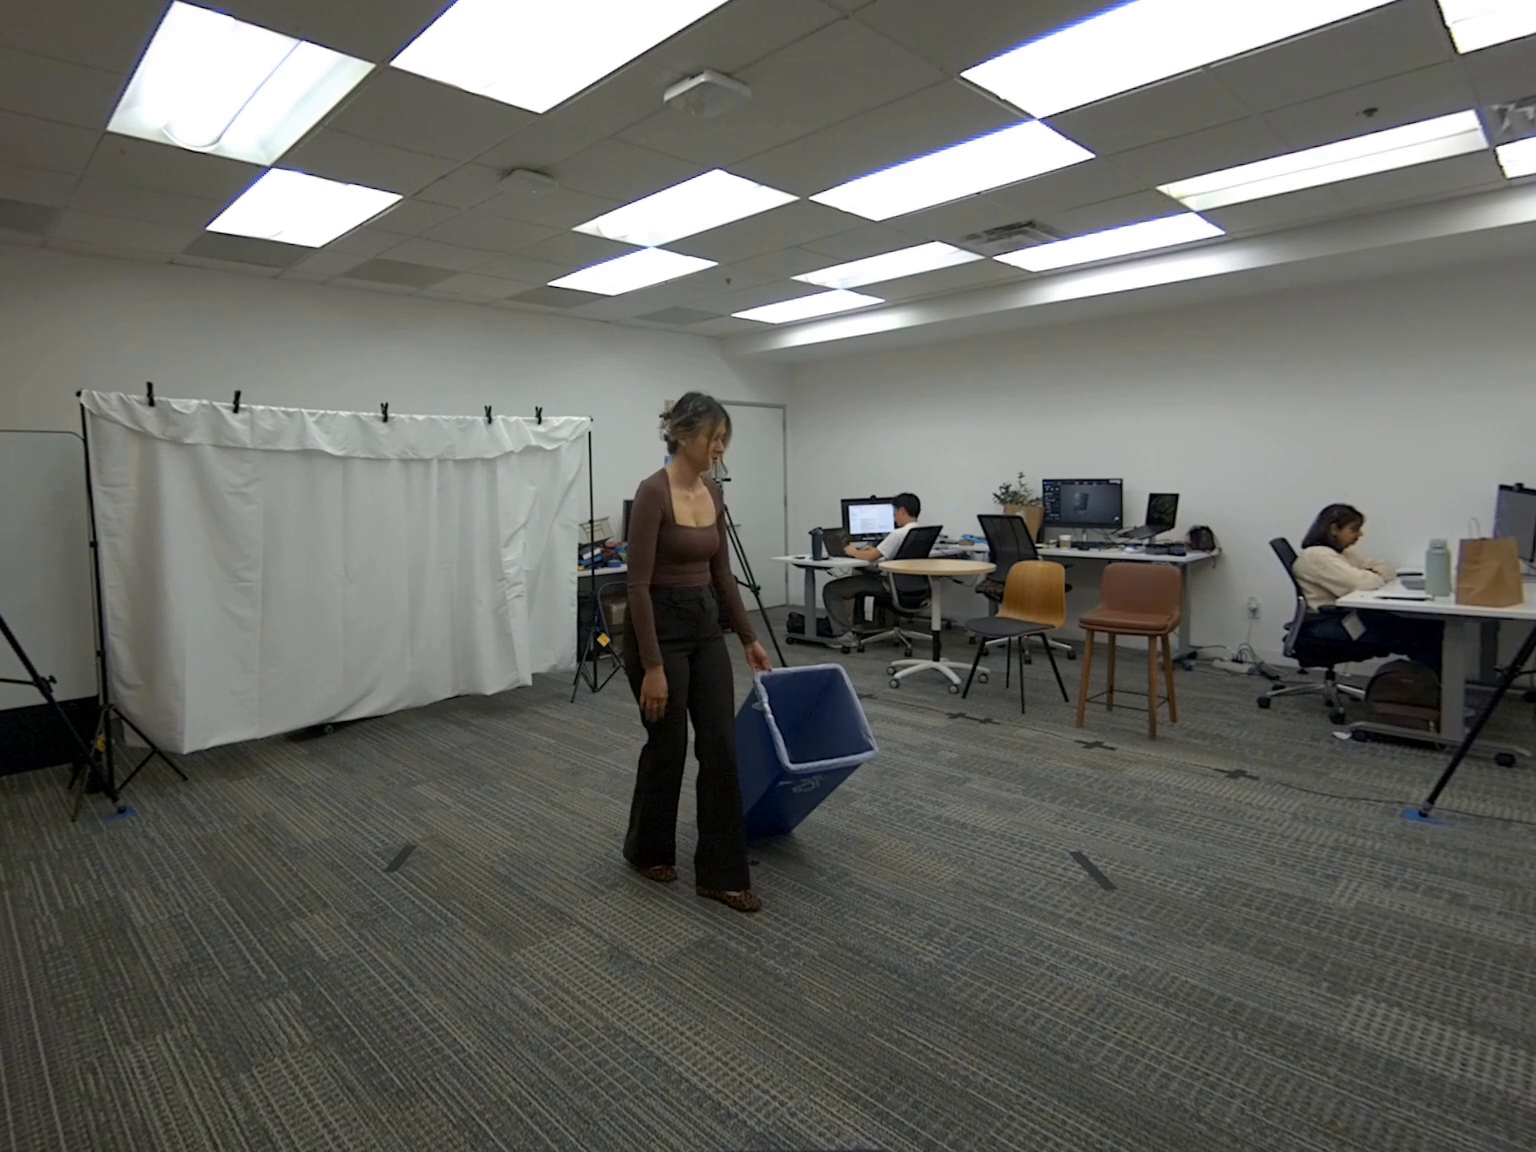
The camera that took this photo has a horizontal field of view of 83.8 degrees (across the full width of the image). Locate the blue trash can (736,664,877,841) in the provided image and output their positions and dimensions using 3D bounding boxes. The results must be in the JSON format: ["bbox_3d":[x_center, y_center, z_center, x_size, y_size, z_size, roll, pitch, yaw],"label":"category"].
[{"bbox_3d":[0.048,0.681,3.161,0.366,0.391,0.705,-3,-37,-27],"label":"blue trash can"}]
